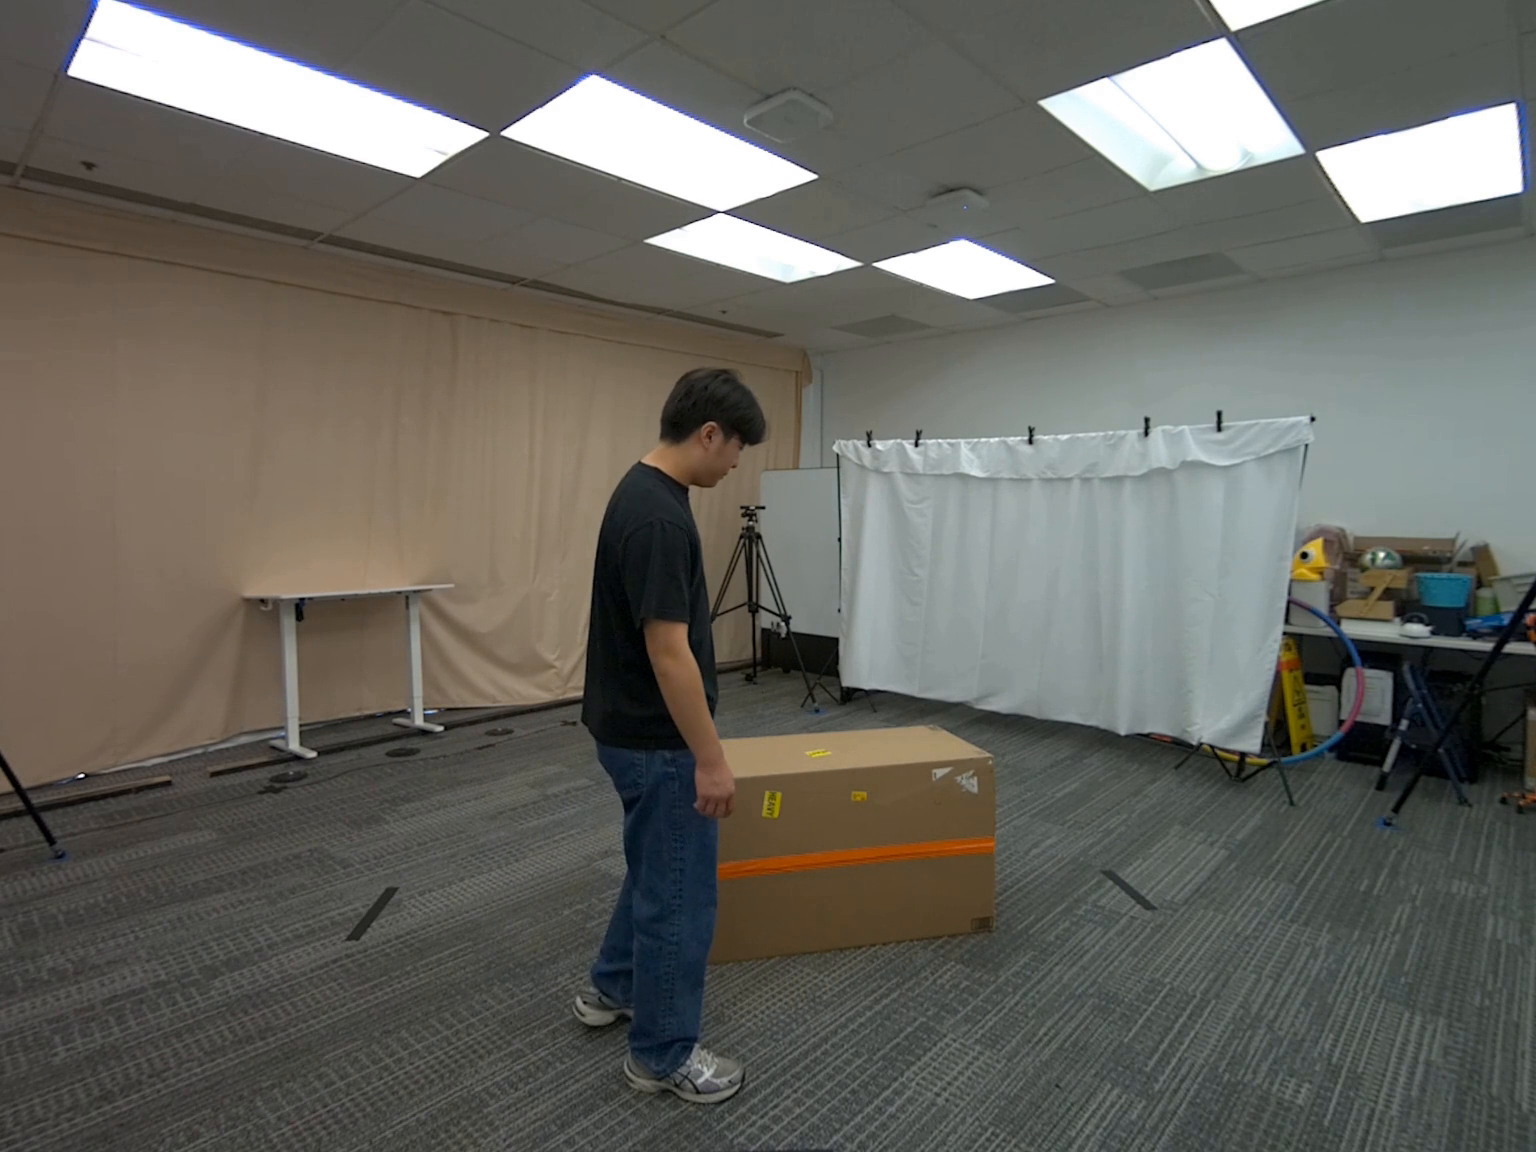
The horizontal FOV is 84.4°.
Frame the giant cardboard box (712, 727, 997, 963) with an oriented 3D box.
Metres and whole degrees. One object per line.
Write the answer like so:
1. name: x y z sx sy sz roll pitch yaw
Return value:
1. giant cardboard box: 0.192 0.867 2.832 1.013 0.582 0.454 -2 5 -14
